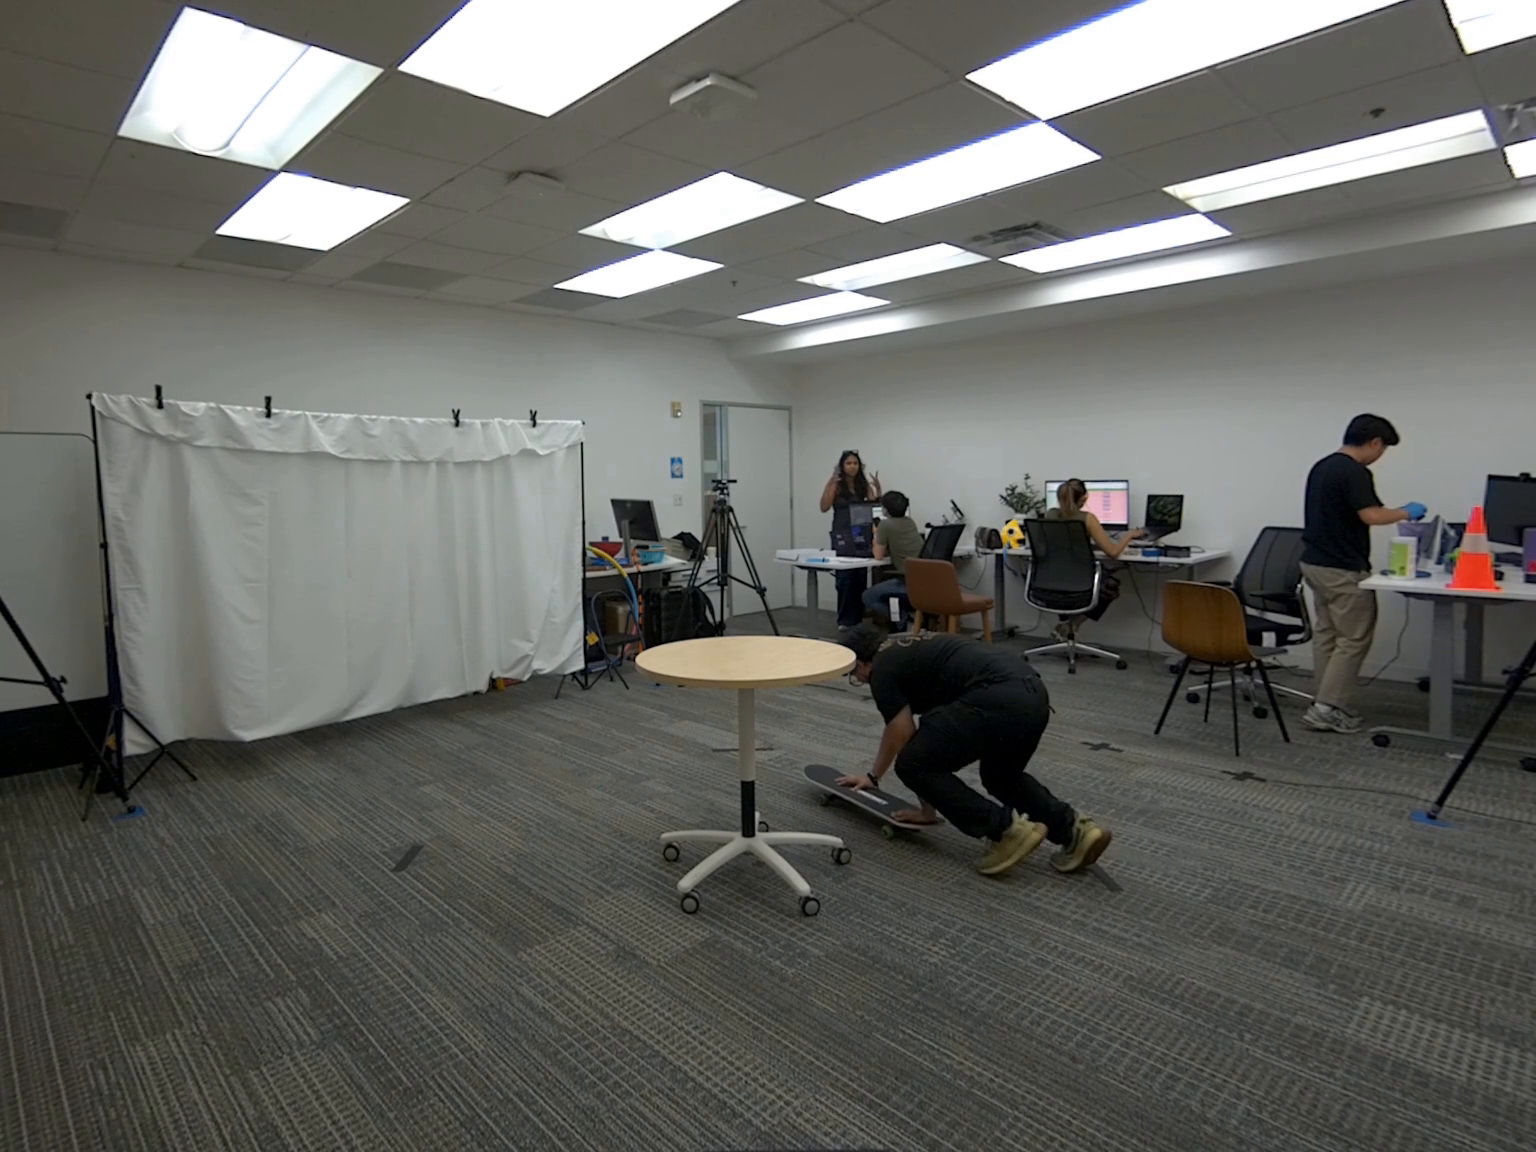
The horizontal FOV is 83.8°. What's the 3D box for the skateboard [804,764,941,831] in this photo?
[{"bbox_3d":[0.422,0.941,3.520,0.188,0.110,0.808,0,4,-32],"label":"skateboard"}]
